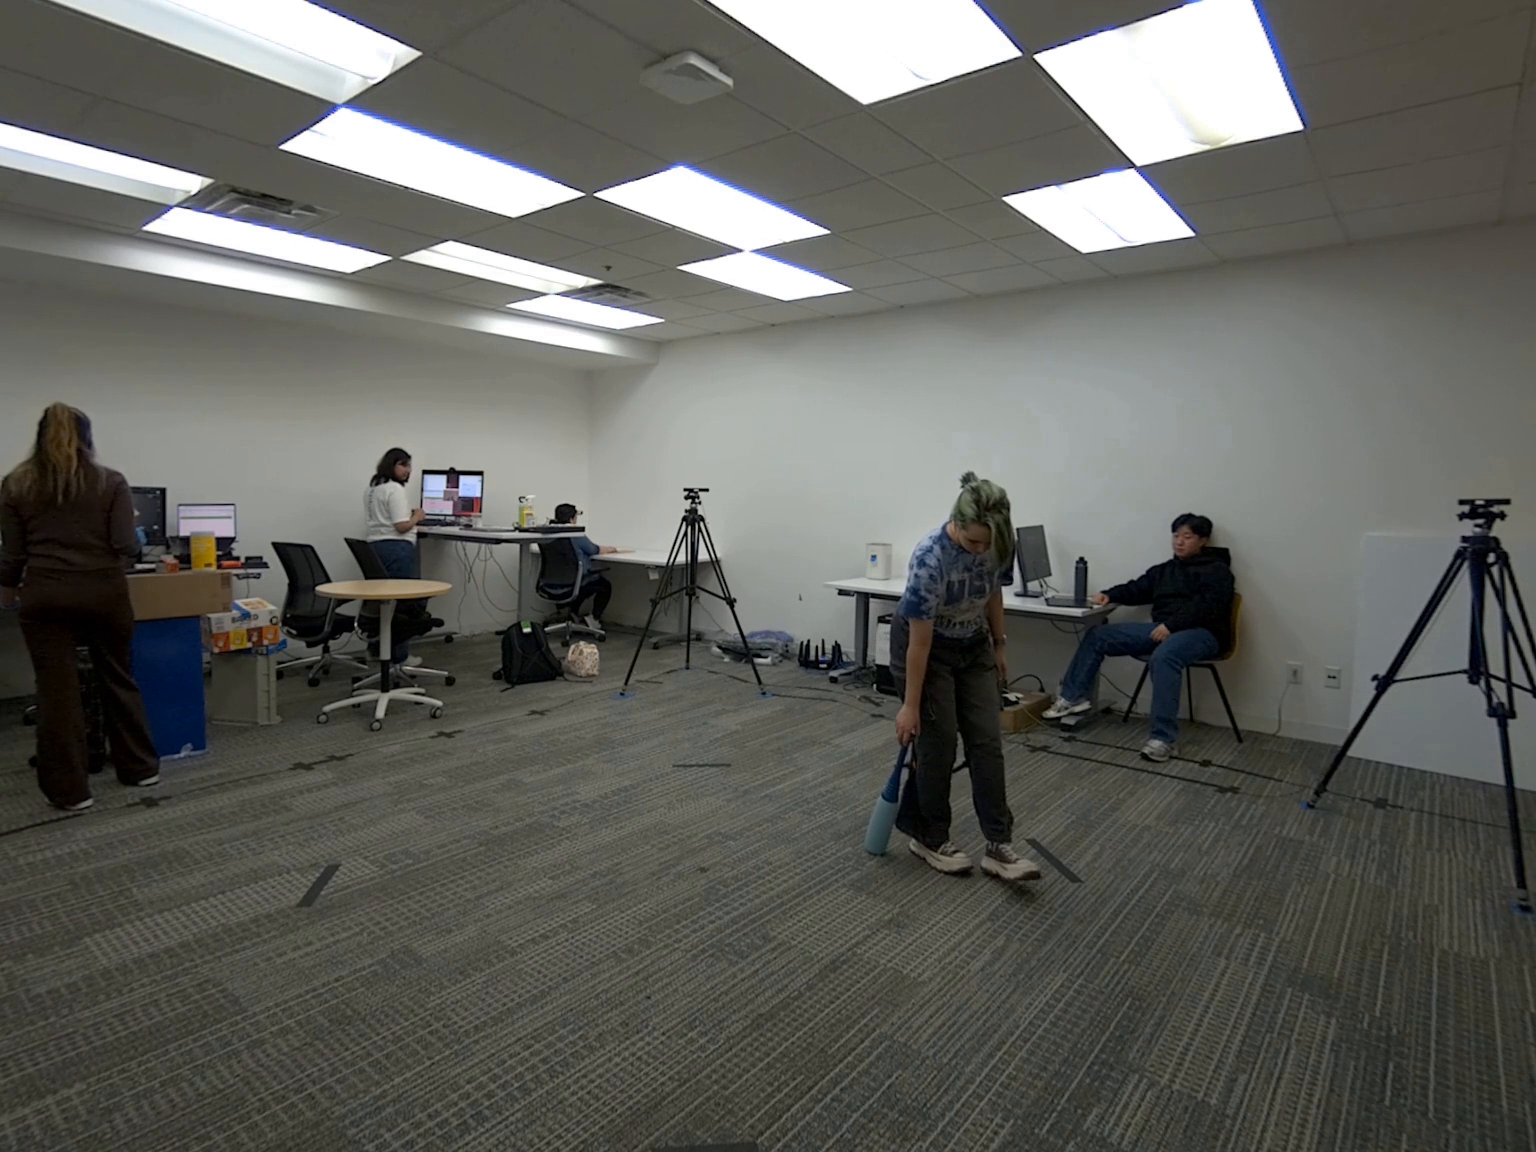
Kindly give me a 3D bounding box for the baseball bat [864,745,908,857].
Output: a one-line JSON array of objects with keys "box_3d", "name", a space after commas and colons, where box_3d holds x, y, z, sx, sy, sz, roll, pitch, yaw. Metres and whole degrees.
[{"box_3d": [0.458, 0.819, 3.210, 0.088, 0.534, 0.091, 9, 22, -6], "name": "baseball bat"}]
